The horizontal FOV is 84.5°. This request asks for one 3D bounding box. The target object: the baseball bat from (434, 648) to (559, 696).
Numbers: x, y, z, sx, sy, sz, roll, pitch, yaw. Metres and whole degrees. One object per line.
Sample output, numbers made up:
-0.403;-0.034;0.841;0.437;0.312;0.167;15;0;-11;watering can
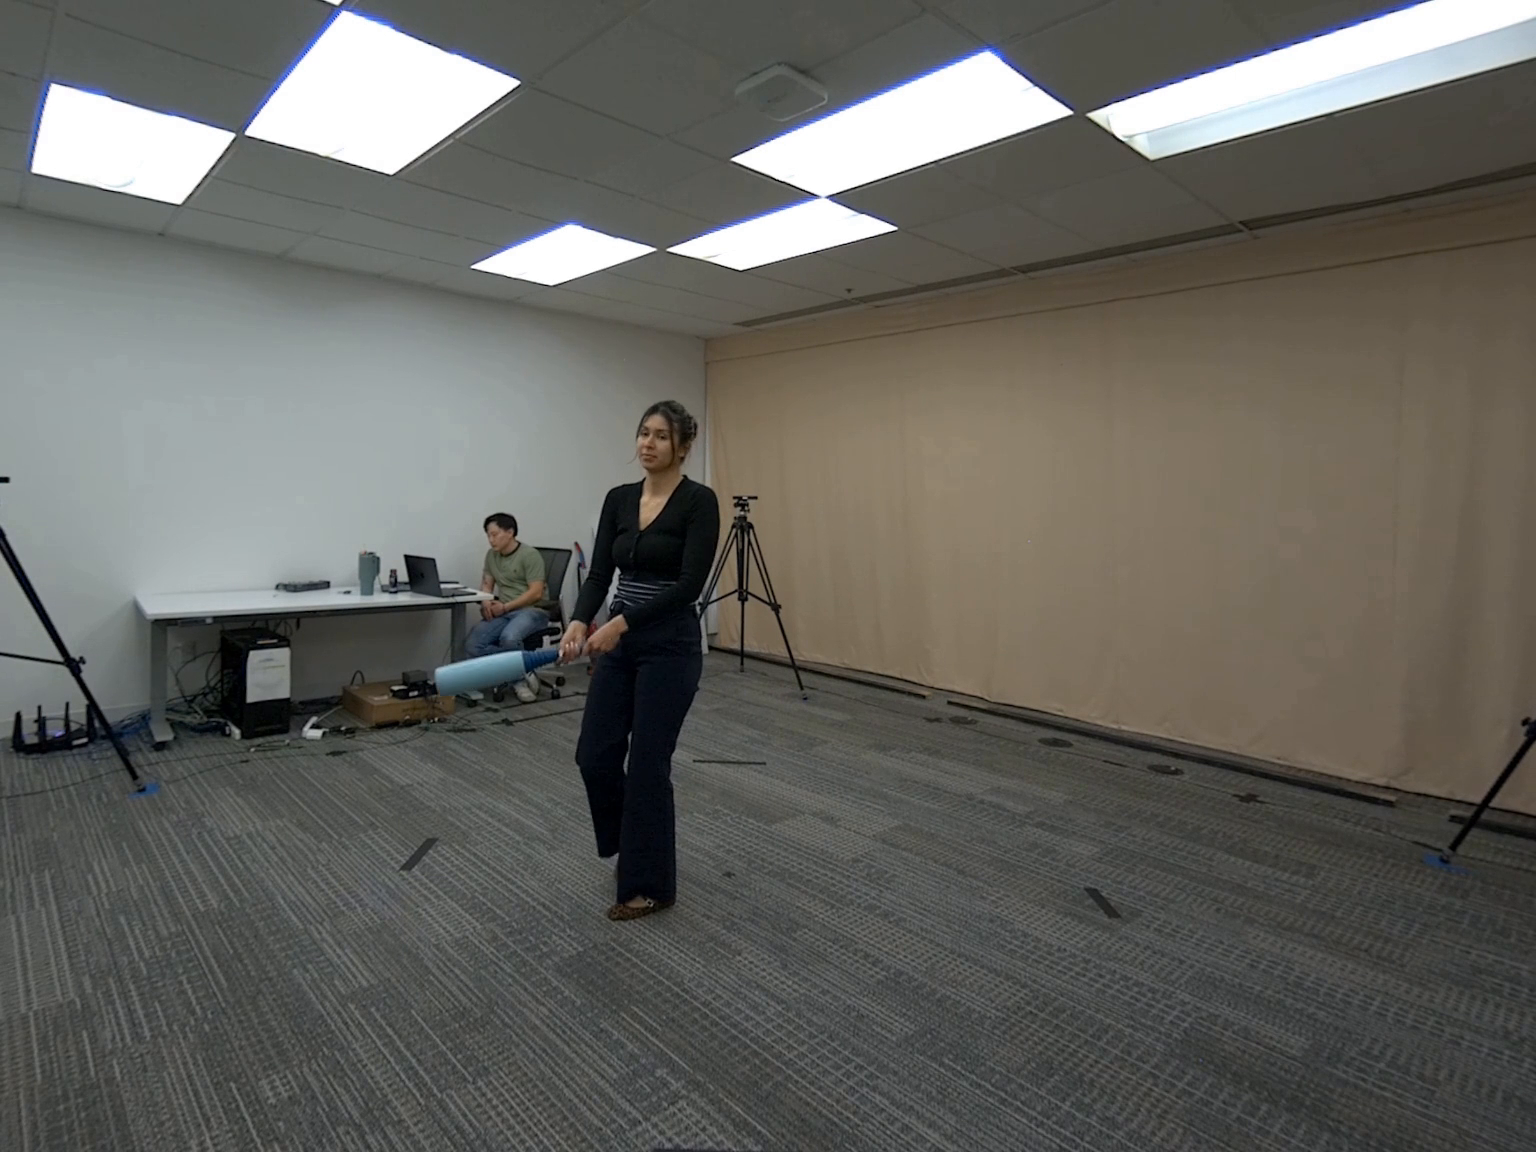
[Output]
-0.699;0.259;2.461;0.539;0.088;0.090;-12;7;-11;baseball bat
